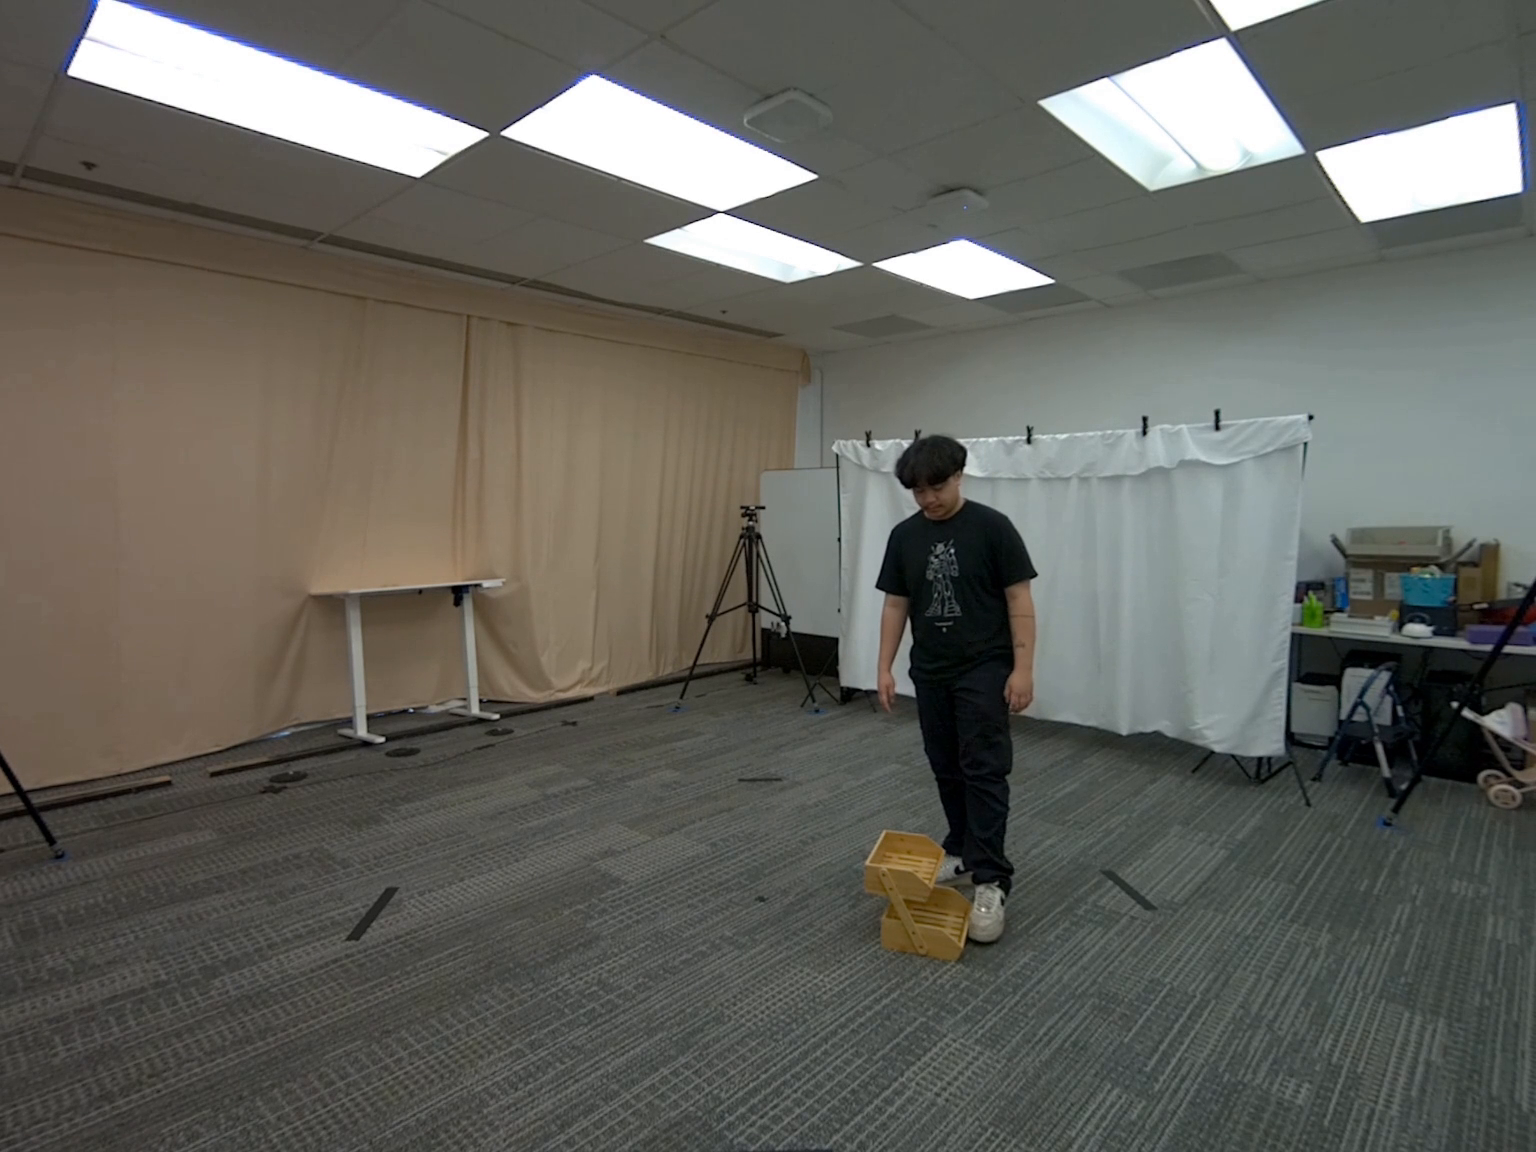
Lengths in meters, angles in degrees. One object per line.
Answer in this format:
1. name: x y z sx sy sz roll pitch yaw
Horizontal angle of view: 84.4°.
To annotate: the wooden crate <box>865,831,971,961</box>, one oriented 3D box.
1. wooden crate: 0.507 1.032 2.745 0.309 0.273 0.318 1 4 21
